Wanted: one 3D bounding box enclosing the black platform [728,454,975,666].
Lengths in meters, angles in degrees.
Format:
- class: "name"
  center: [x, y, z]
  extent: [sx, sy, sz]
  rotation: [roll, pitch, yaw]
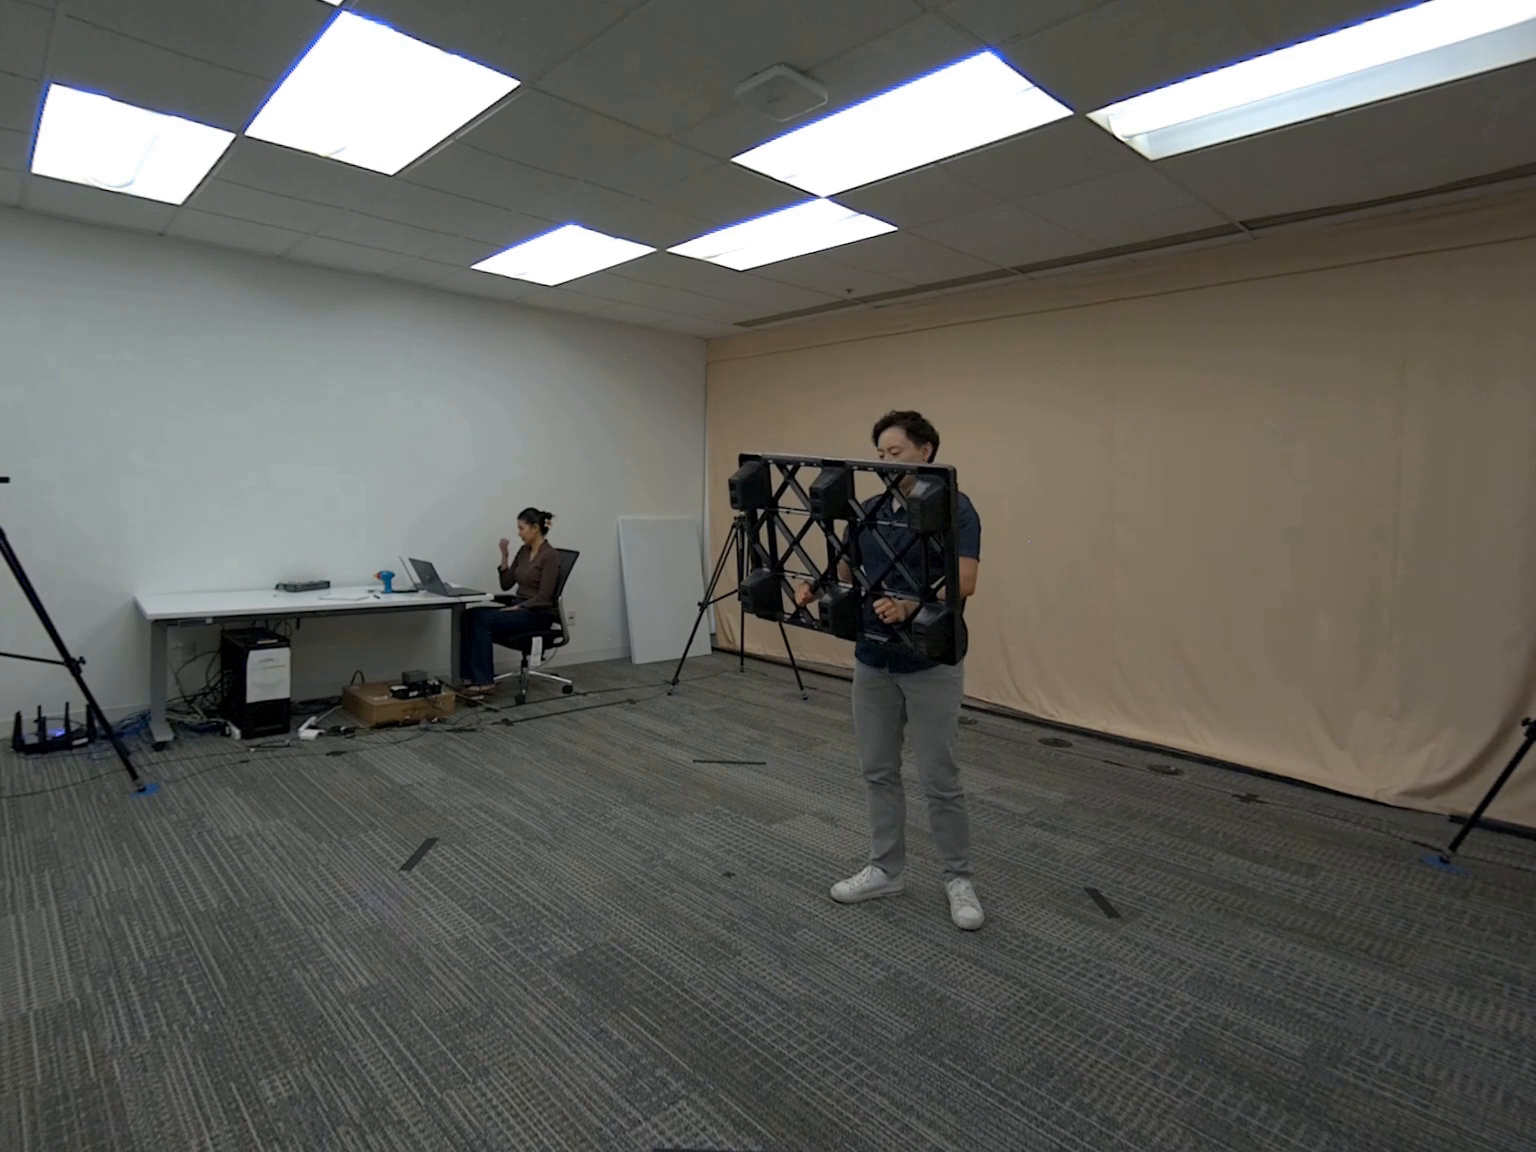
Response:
- class: "black platform"
  center: [0.205, -0.065, 2.626]
  extent: [0.828, 0.597, 0.141]
  rotation: [11, 24, 42]
